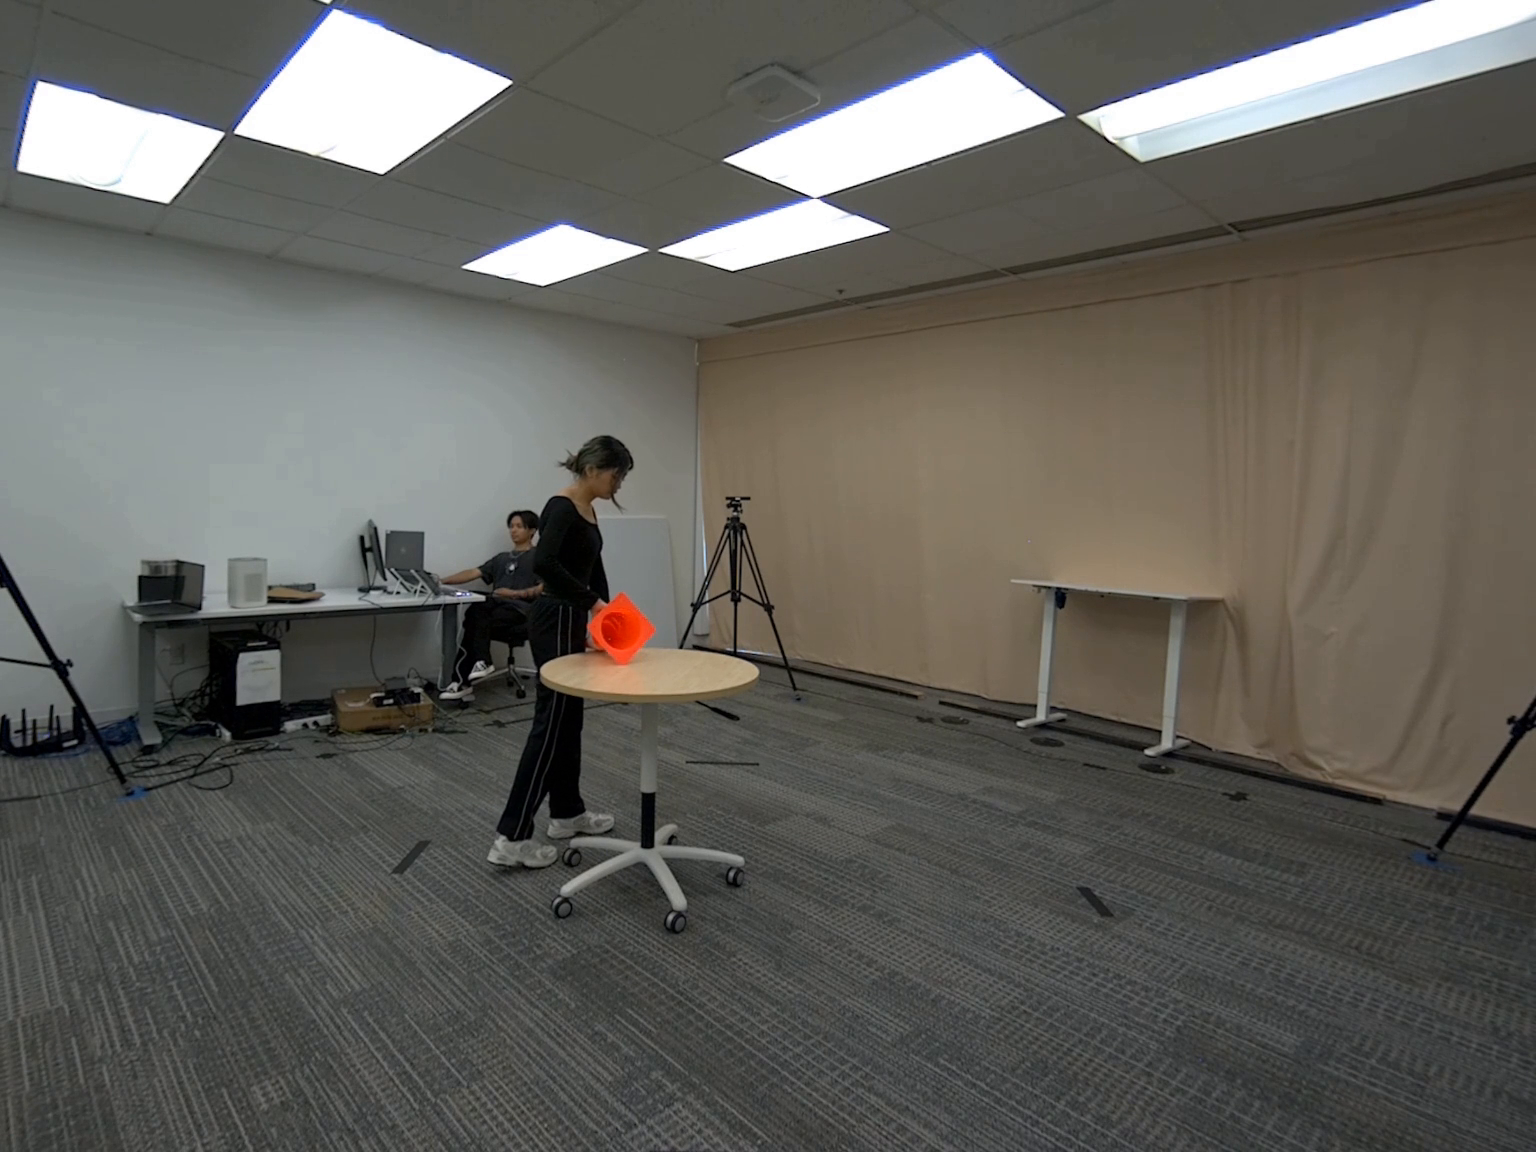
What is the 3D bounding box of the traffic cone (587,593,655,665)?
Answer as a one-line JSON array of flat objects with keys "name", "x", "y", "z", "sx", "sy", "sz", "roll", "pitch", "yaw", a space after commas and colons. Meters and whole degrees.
[{"name": "traffic cone", "x": -0.622, "y": 0.240, "z": 3.202, "sx": 0.203, "sy": 0.203, "sz": 0.387, "roll": -47, "pitch": 10, "yaw": -31}]
